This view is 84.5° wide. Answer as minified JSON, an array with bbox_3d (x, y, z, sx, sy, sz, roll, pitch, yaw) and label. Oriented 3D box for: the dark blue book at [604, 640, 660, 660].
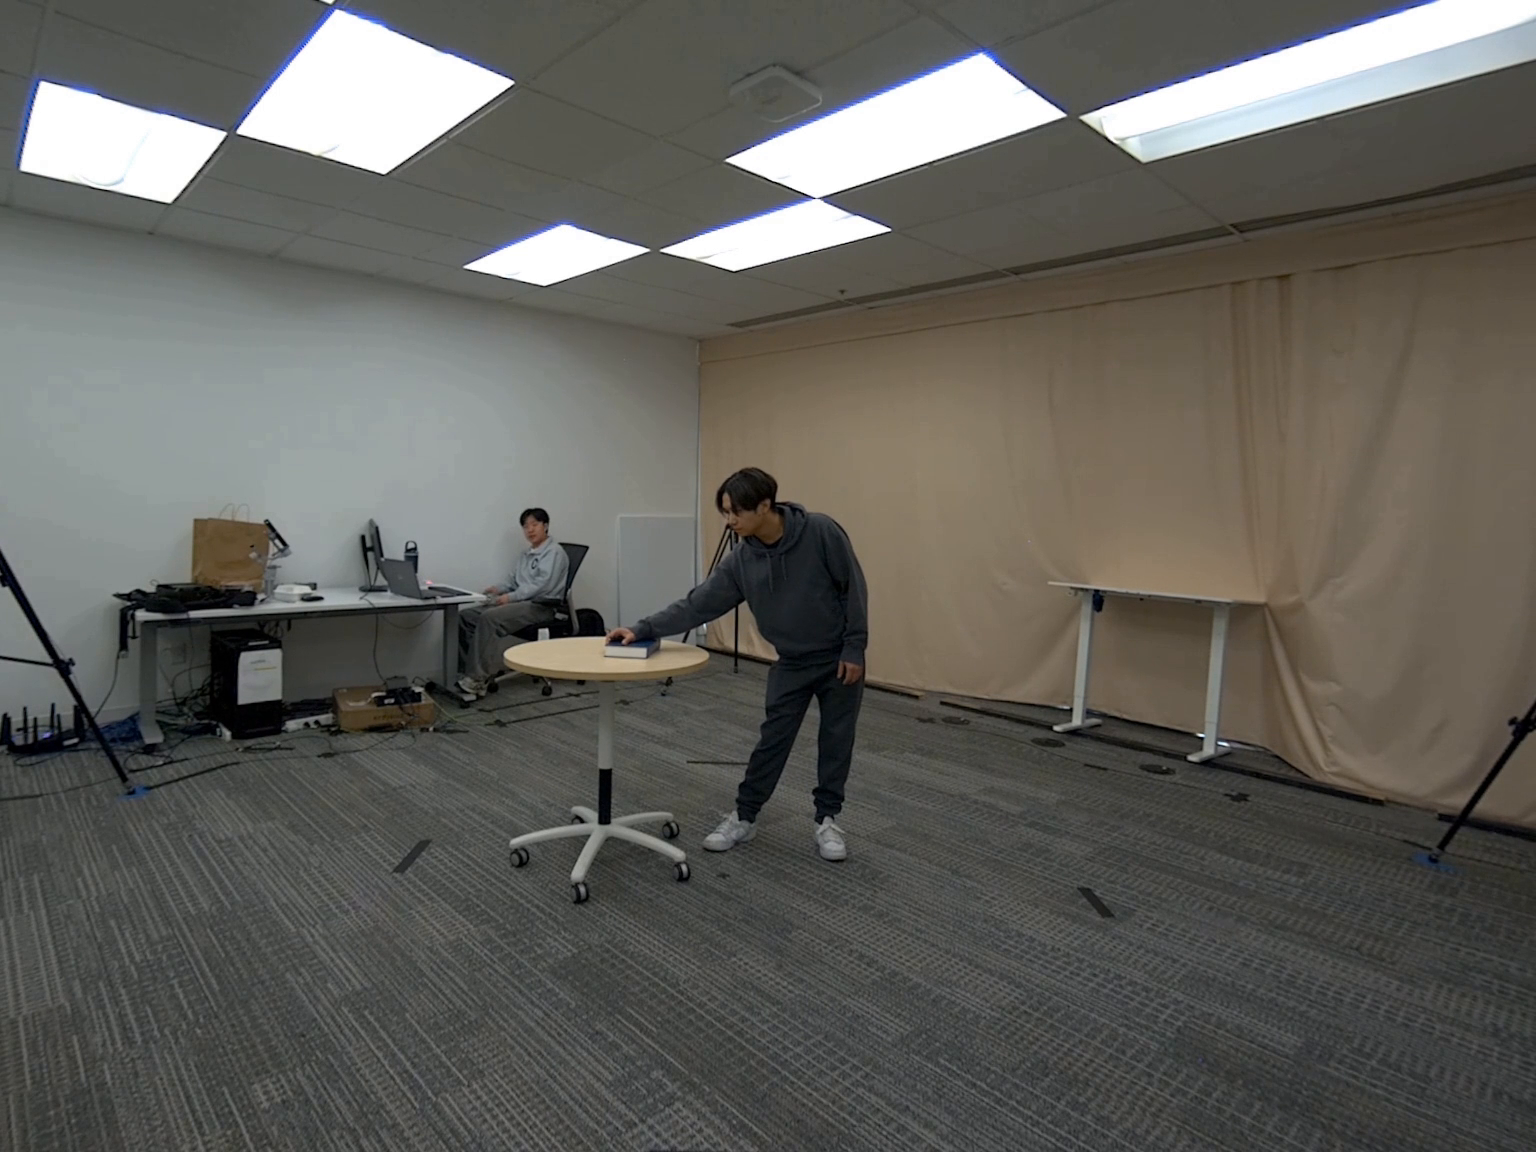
[{"bbox_3d":[-0.519,0.273,3.209,0.164,0.045,0.244,1,5,5],"label":"dark blue book"}]
